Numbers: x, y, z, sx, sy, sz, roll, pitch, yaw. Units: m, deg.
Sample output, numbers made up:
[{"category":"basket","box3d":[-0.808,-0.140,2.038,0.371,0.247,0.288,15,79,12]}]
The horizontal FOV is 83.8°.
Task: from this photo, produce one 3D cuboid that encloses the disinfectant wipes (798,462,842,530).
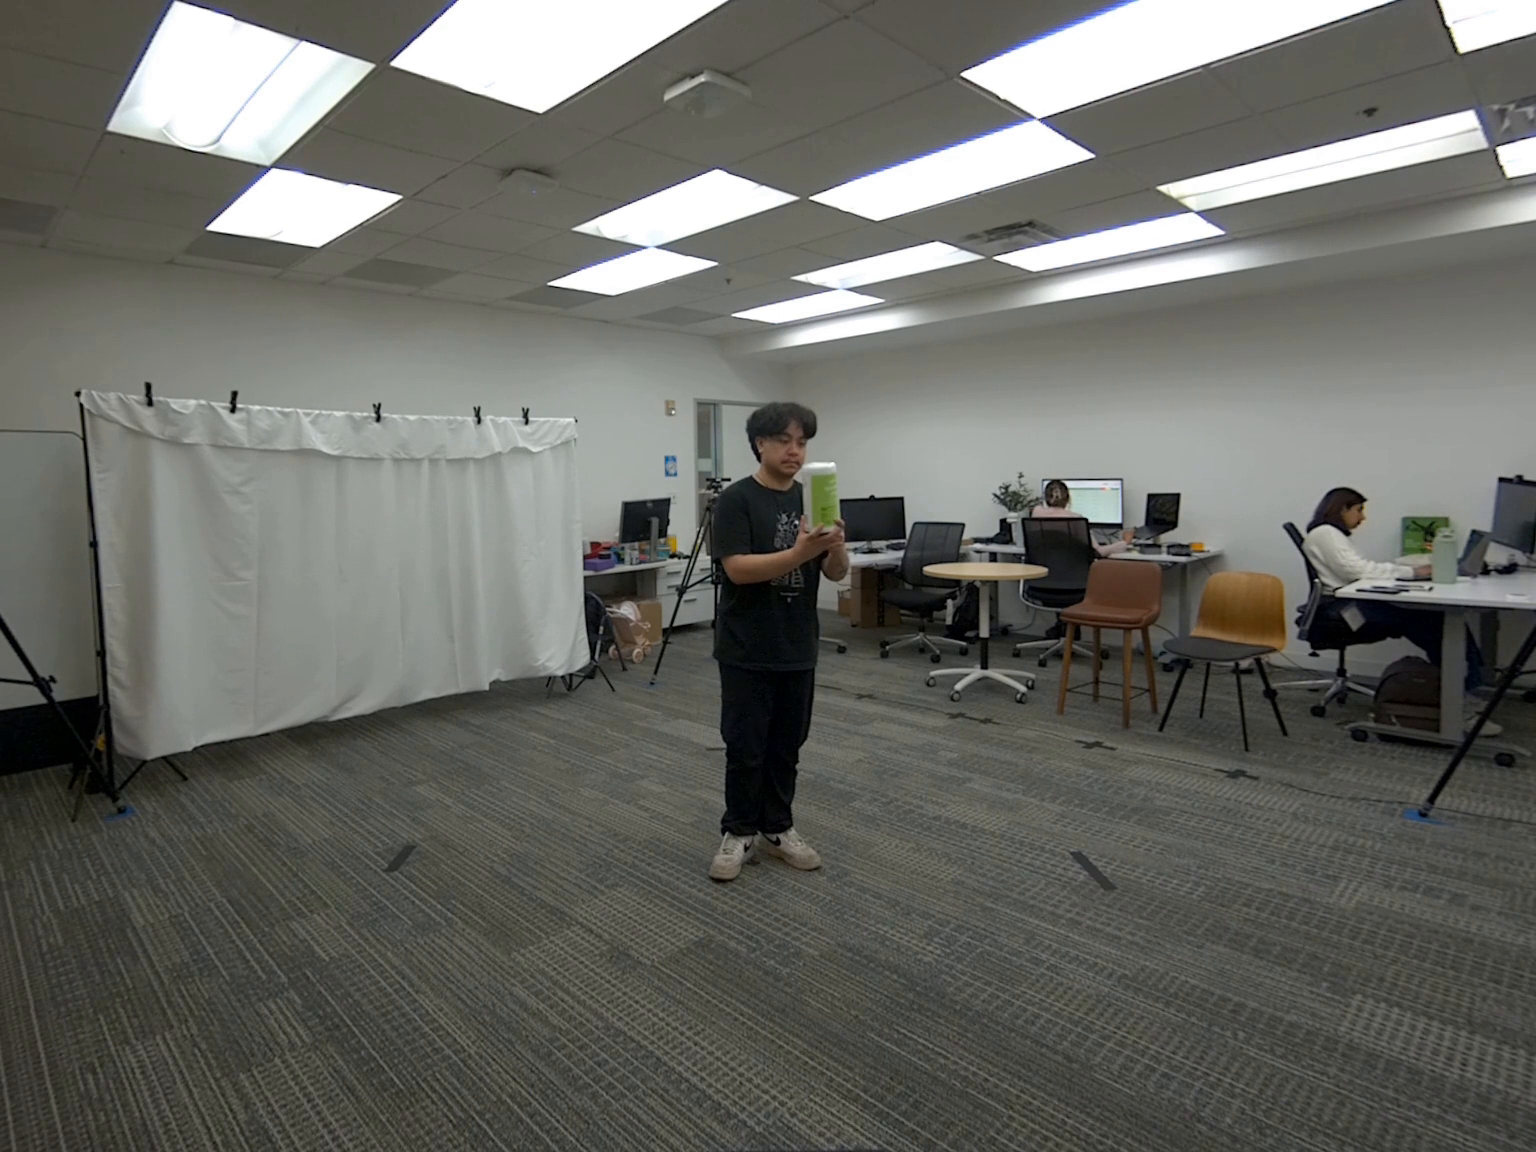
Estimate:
[{"category":"disinfectant wipes","box3d":[0.157,-0.249,2.739,0.118,0.215,0.119,-2,13,-1]}]
